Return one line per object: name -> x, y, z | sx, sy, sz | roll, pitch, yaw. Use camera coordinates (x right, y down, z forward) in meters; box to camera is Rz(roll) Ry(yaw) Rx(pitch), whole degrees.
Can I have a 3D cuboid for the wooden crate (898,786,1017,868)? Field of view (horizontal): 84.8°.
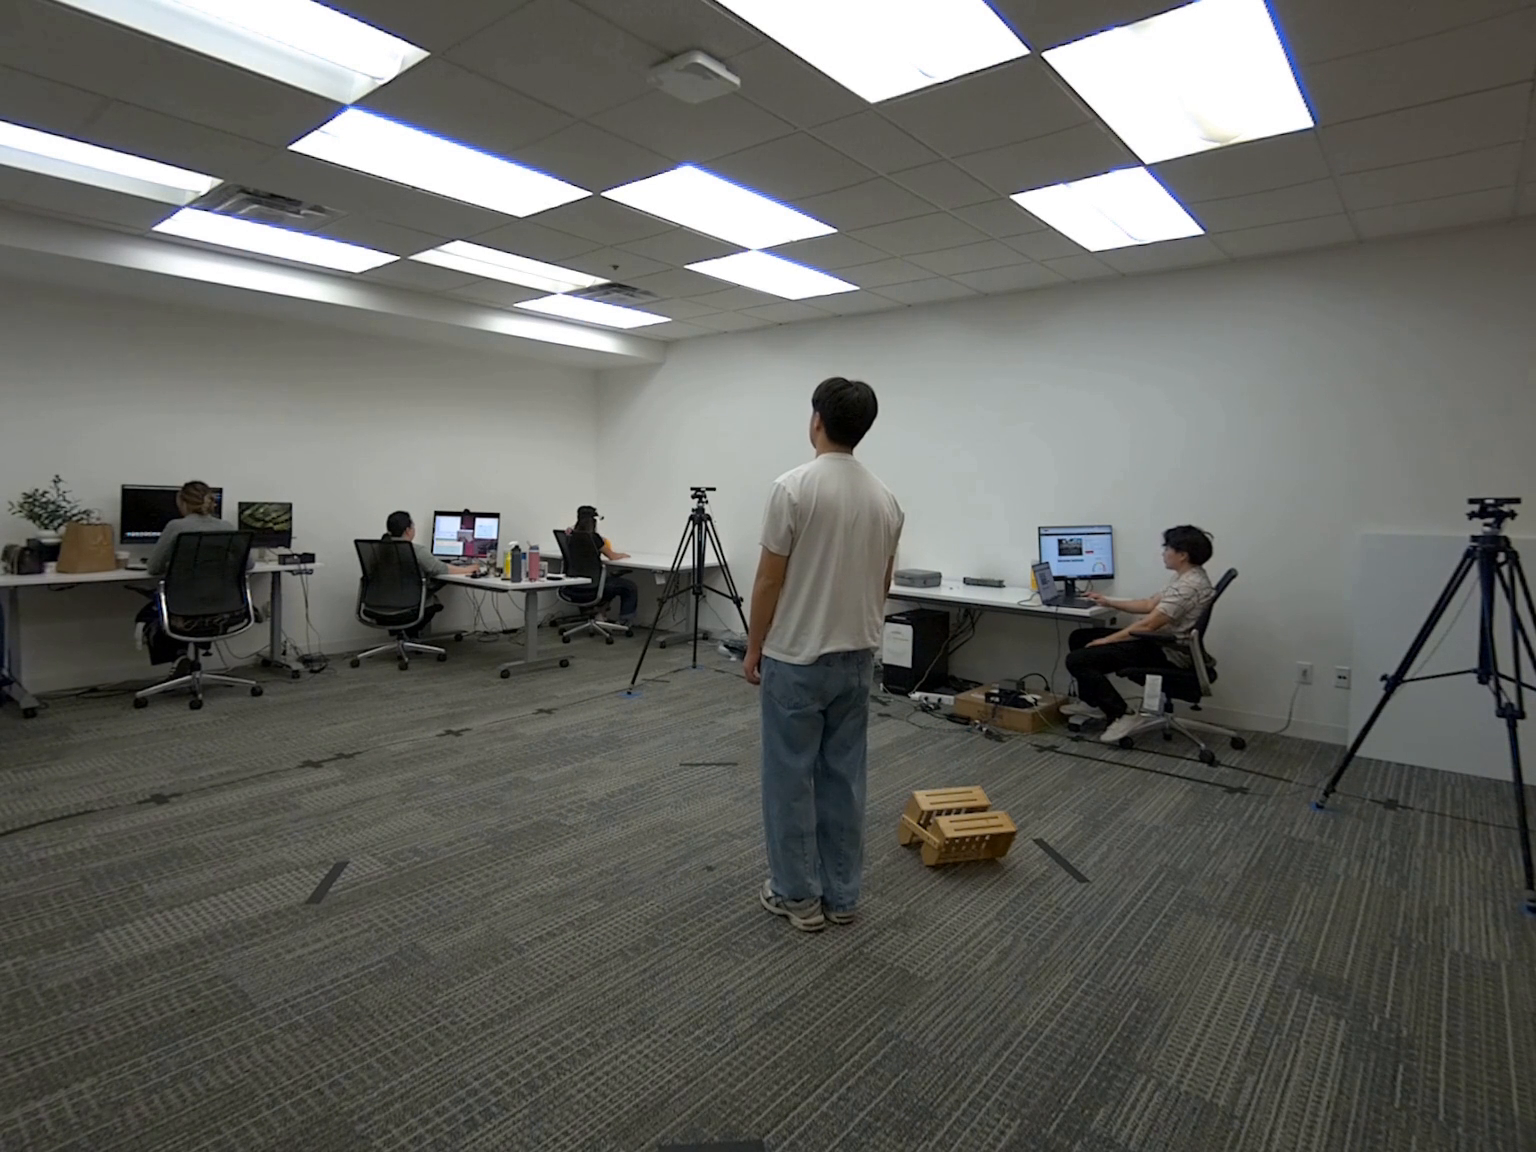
wooden crate -> 0.709, 0.983, 3.261 | 0.319, 0.296, 0.284 | 0, 32, -18
